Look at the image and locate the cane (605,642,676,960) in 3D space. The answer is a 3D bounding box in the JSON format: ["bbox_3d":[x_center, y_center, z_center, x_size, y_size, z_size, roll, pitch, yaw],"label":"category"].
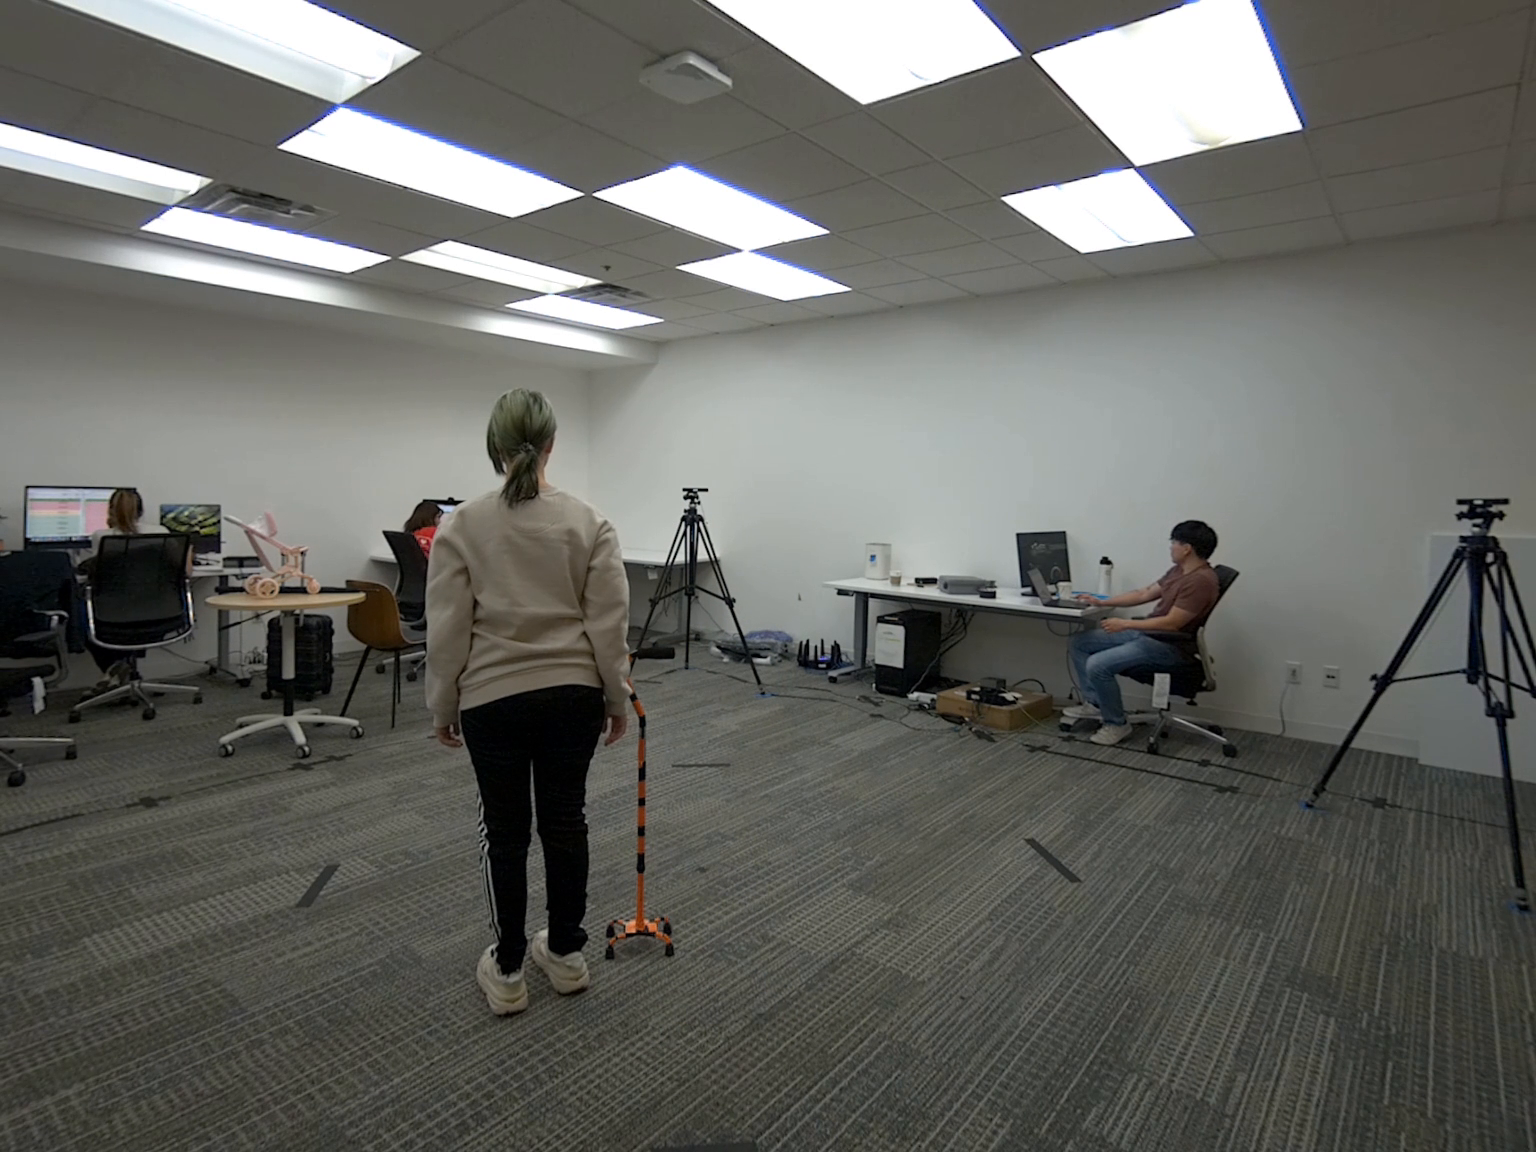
[{"bbox_3d":[-0.390,0.669,2.559,0.205,0.905,0.153,1,3,-8],"label":"cane"}]
